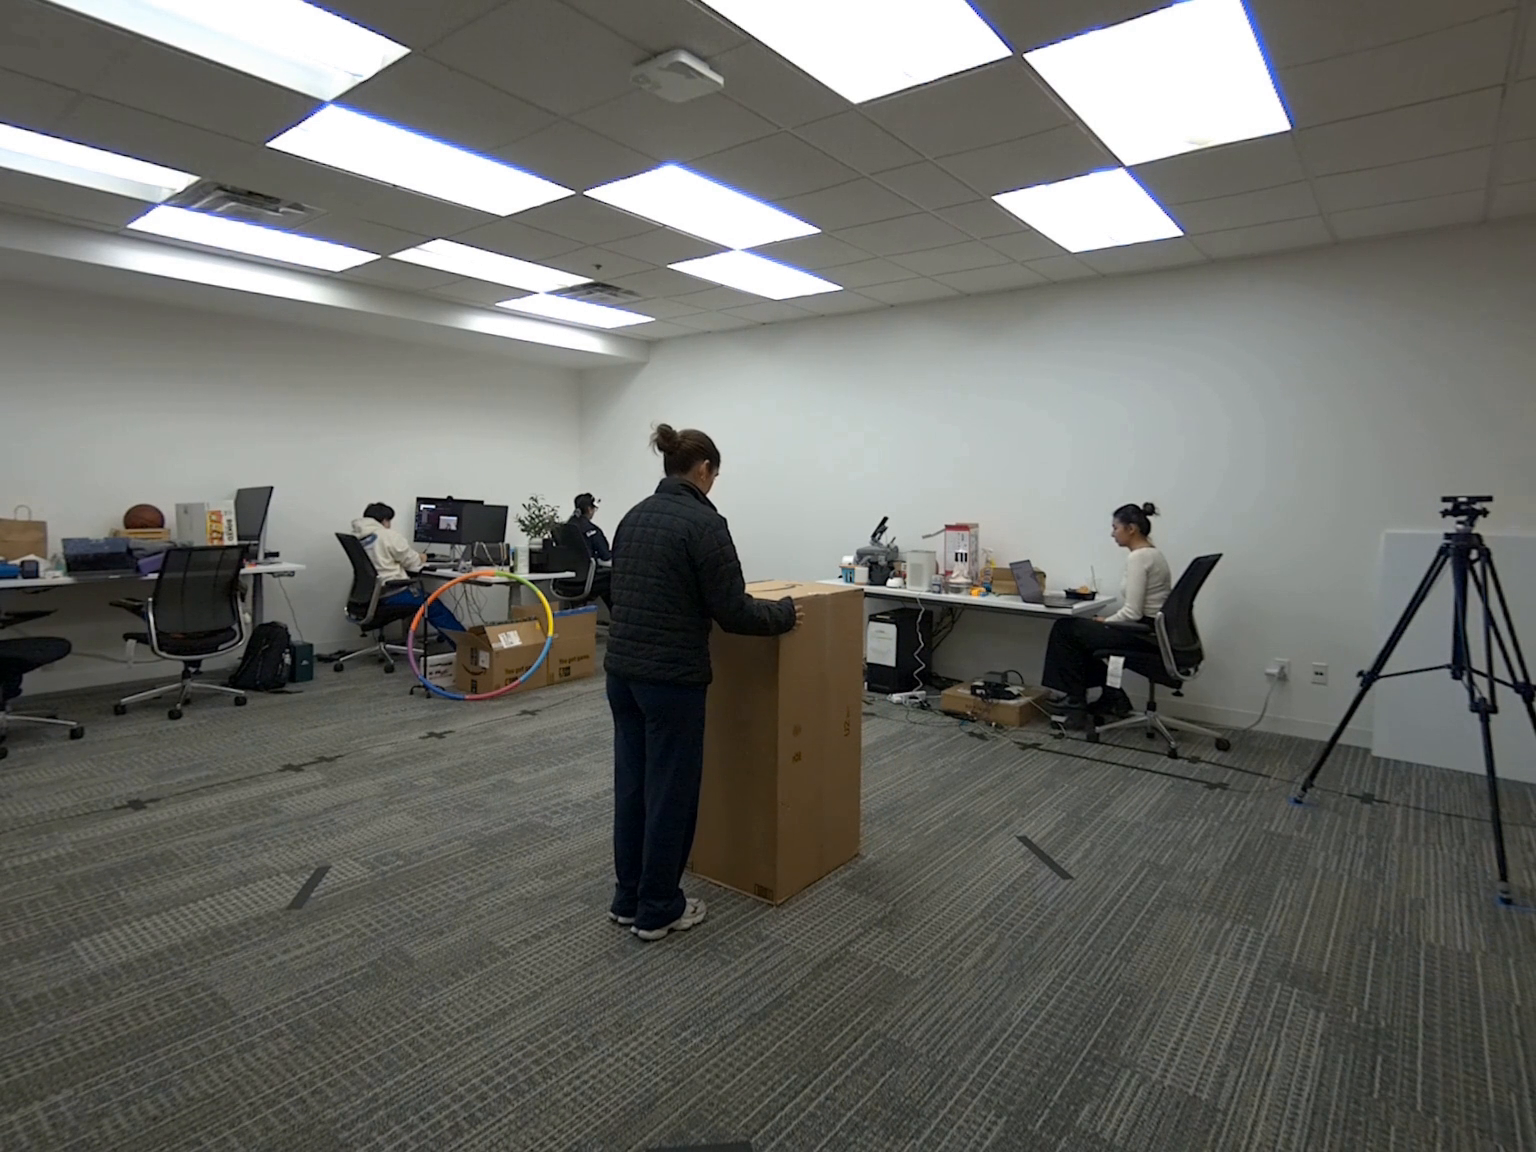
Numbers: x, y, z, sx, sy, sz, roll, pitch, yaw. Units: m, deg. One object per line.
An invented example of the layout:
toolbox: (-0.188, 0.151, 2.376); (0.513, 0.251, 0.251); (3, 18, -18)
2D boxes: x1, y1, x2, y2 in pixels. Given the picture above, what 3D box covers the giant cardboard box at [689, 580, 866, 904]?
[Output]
giant cardboard box: (0.042, 0.559, 3.167); (0.440, 1.023, 0.561); (3, 4, 38)
